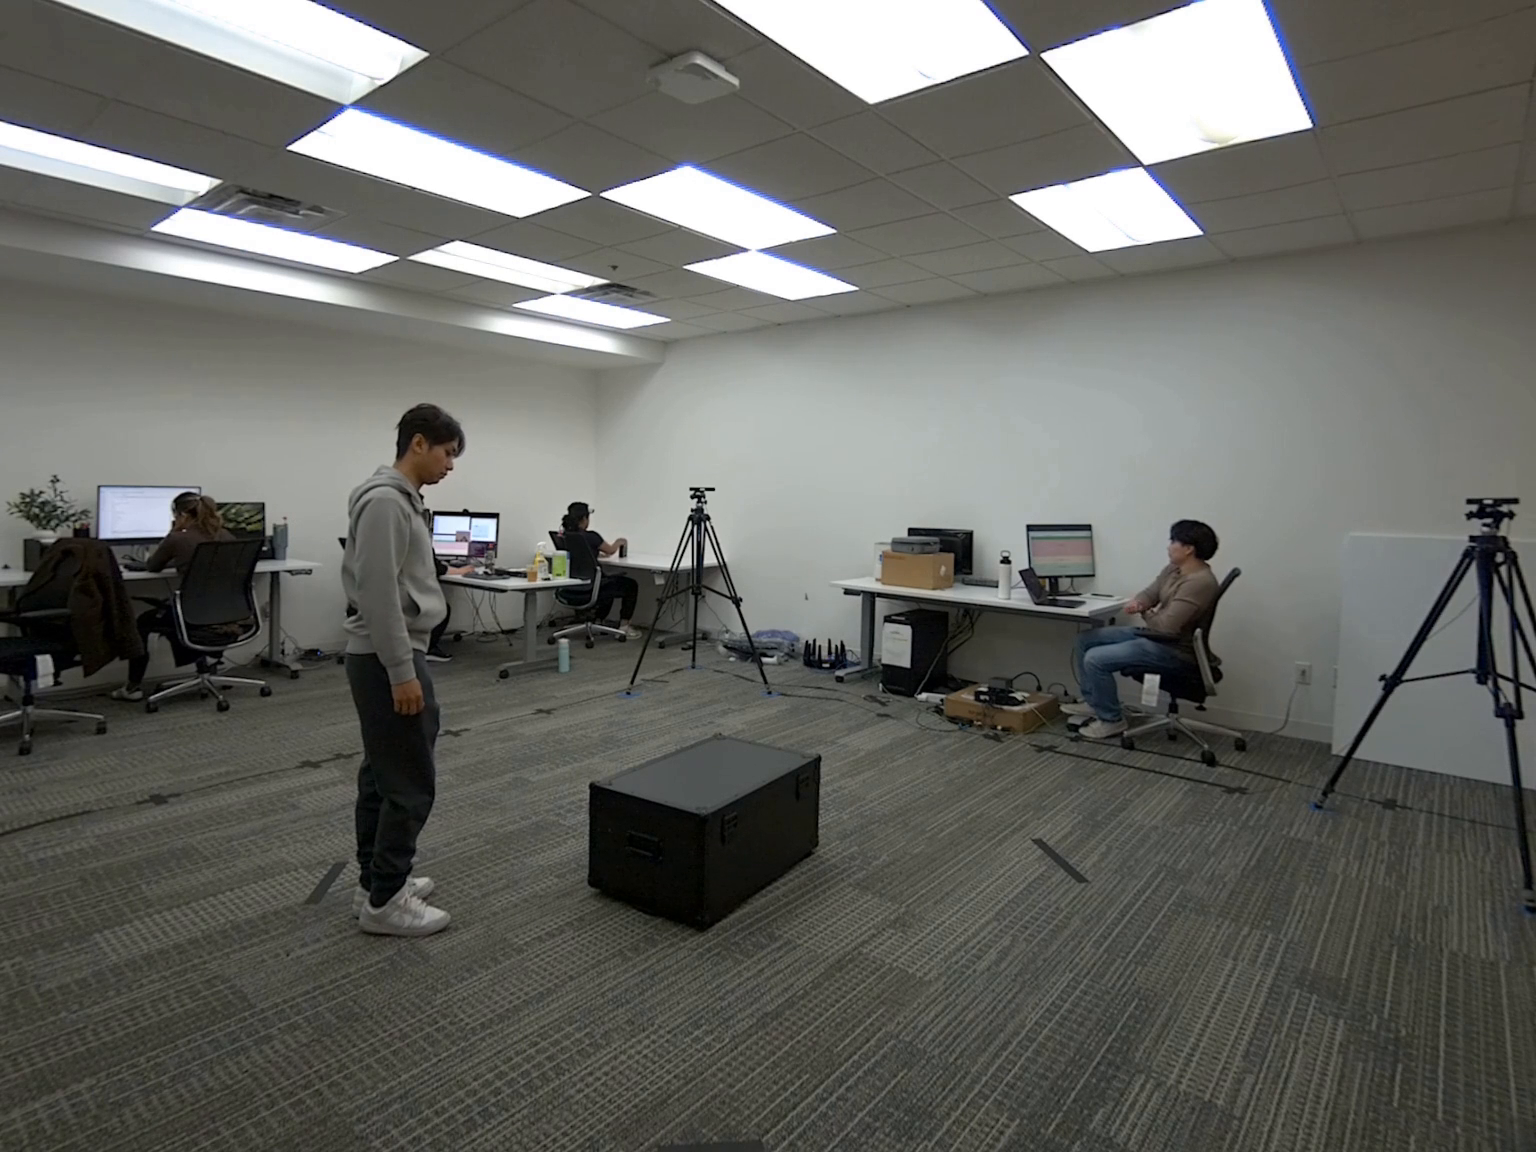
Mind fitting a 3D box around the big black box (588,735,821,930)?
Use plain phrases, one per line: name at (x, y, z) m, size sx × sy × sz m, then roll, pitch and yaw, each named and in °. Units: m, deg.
big black box at (-0.197, 0.875, 3.100) m, size 0.537 × 0.395 × 0.839 m, roll 4°, pitch 6°, yaw 31°
